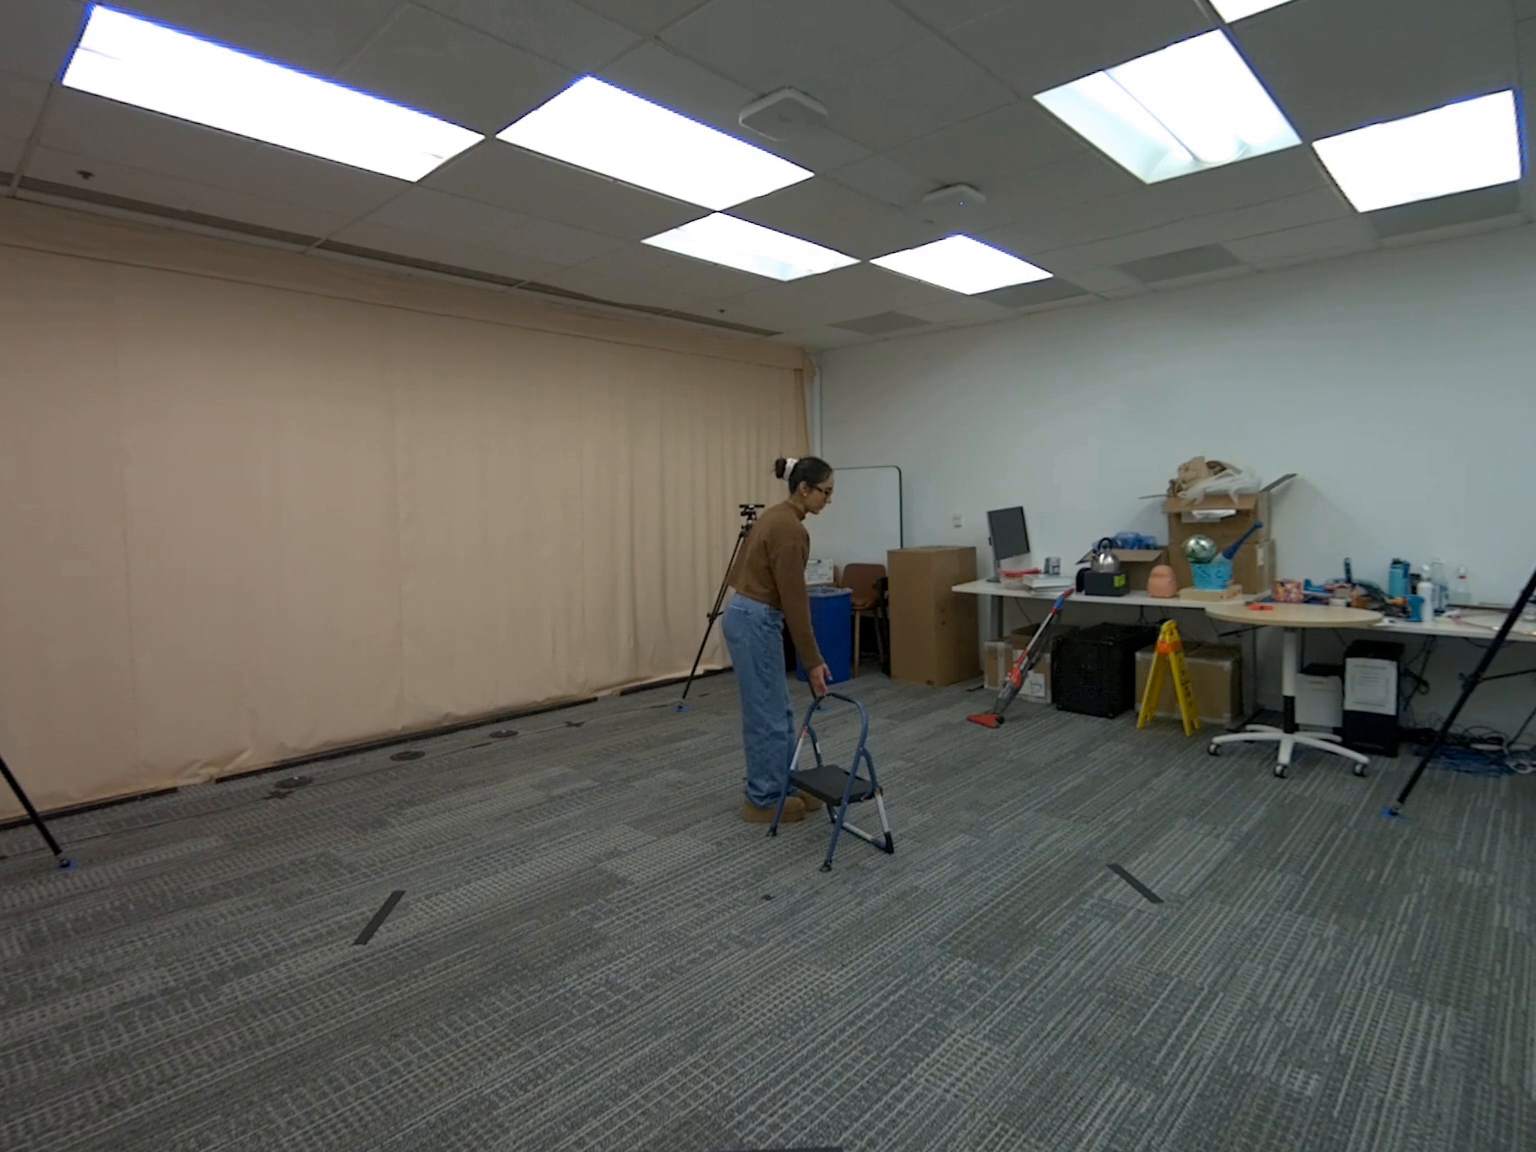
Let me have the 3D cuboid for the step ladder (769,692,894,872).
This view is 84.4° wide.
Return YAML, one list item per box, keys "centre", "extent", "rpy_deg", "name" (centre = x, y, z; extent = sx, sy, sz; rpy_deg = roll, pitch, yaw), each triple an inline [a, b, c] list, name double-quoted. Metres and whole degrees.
- centre: [0.256, 0.794, 3.427]
  extent: [0.340, 0.605, 0.443]
  rpy_deg: [-2, 4, -30]
  name: "step ladder"
